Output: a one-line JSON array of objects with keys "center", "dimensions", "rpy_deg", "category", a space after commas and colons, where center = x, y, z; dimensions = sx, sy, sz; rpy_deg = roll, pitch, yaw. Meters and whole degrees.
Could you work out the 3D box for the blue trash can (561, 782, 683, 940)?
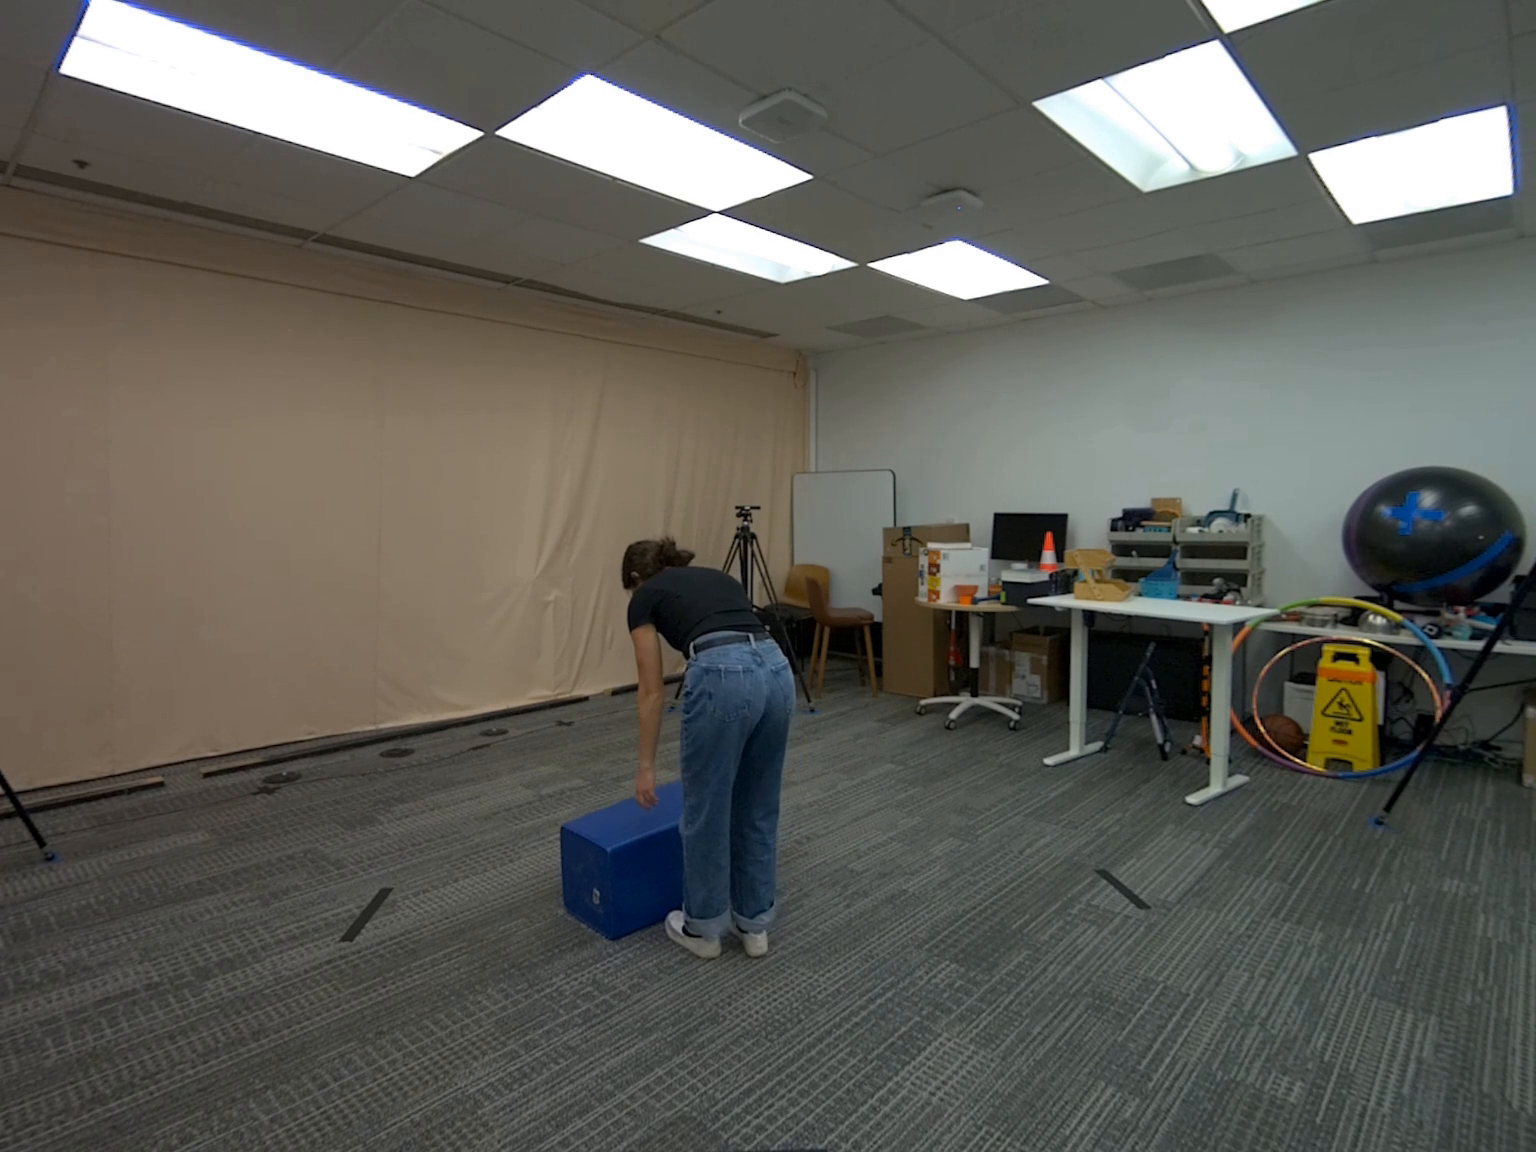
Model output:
[{"center": [-0.348, 0.978, 3.012], "dimensions": [0.693, 0.376, 0.386], "rpy_deg": [-8, 8, -43], "category": "blue trash can"}]
